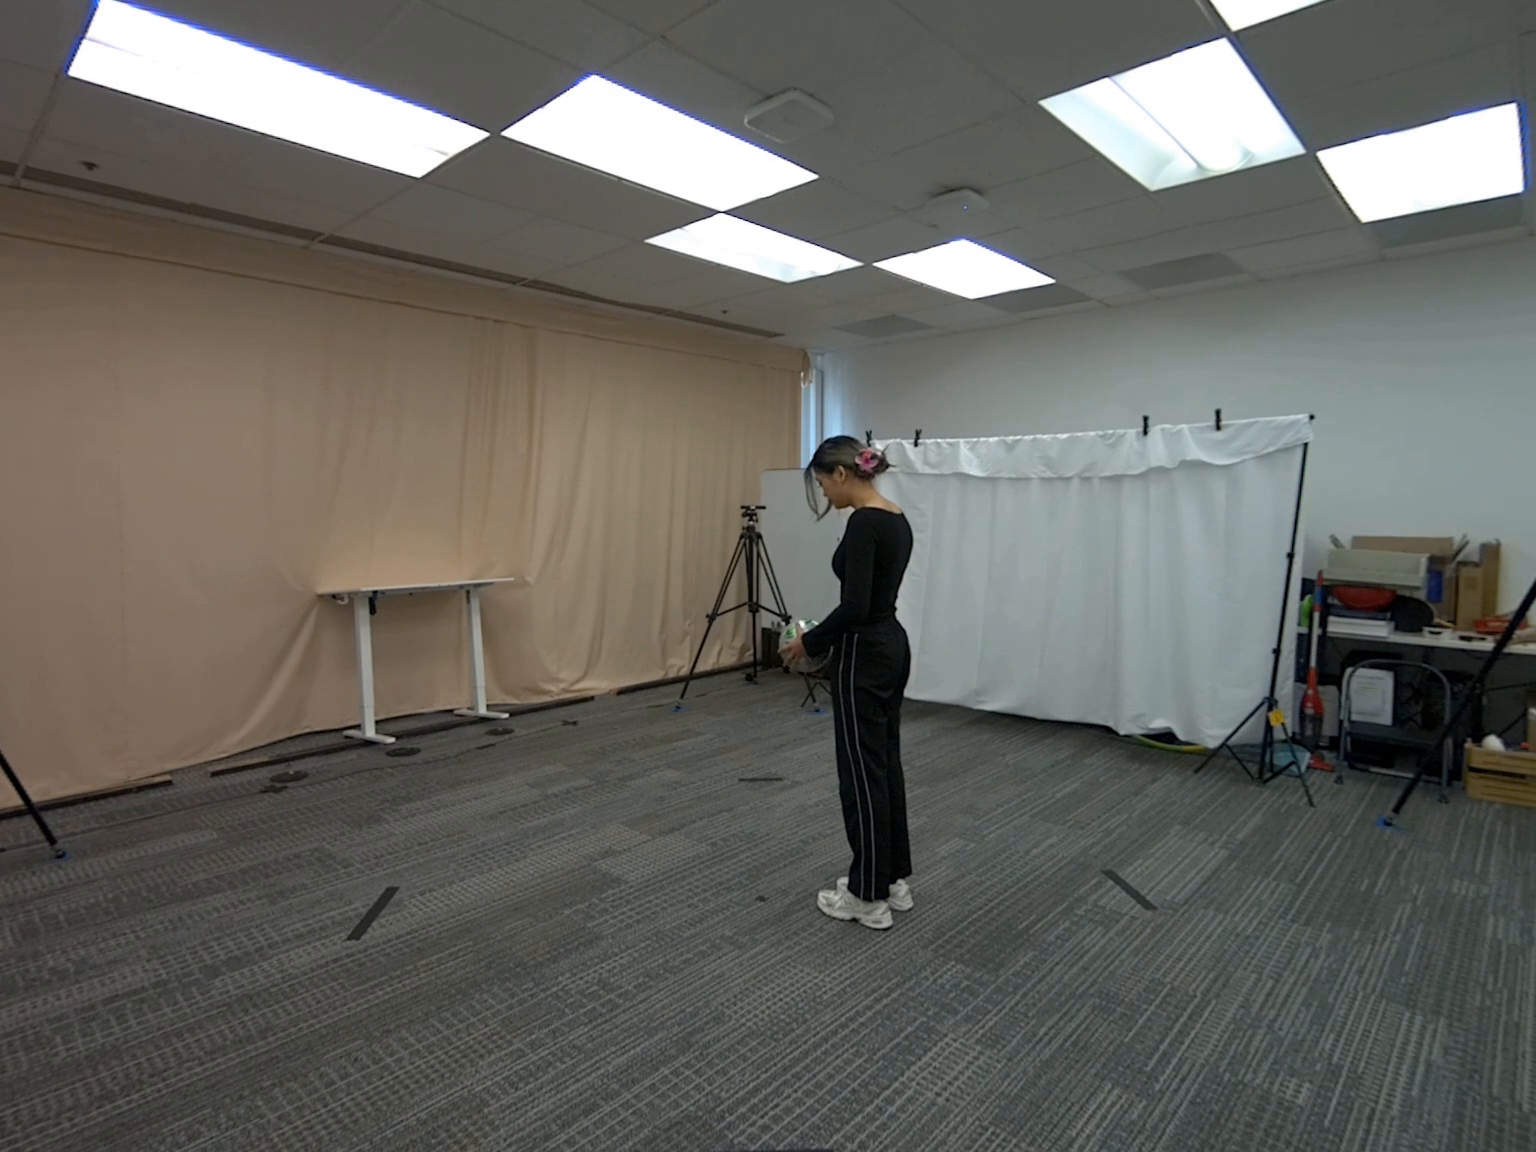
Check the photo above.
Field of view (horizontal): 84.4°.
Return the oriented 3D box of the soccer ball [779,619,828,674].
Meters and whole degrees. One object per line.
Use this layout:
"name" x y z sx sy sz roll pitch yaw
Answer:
"soccer ball" 0.144 0.243 2.969 0.187 0.187 0.188 0 4 -2
